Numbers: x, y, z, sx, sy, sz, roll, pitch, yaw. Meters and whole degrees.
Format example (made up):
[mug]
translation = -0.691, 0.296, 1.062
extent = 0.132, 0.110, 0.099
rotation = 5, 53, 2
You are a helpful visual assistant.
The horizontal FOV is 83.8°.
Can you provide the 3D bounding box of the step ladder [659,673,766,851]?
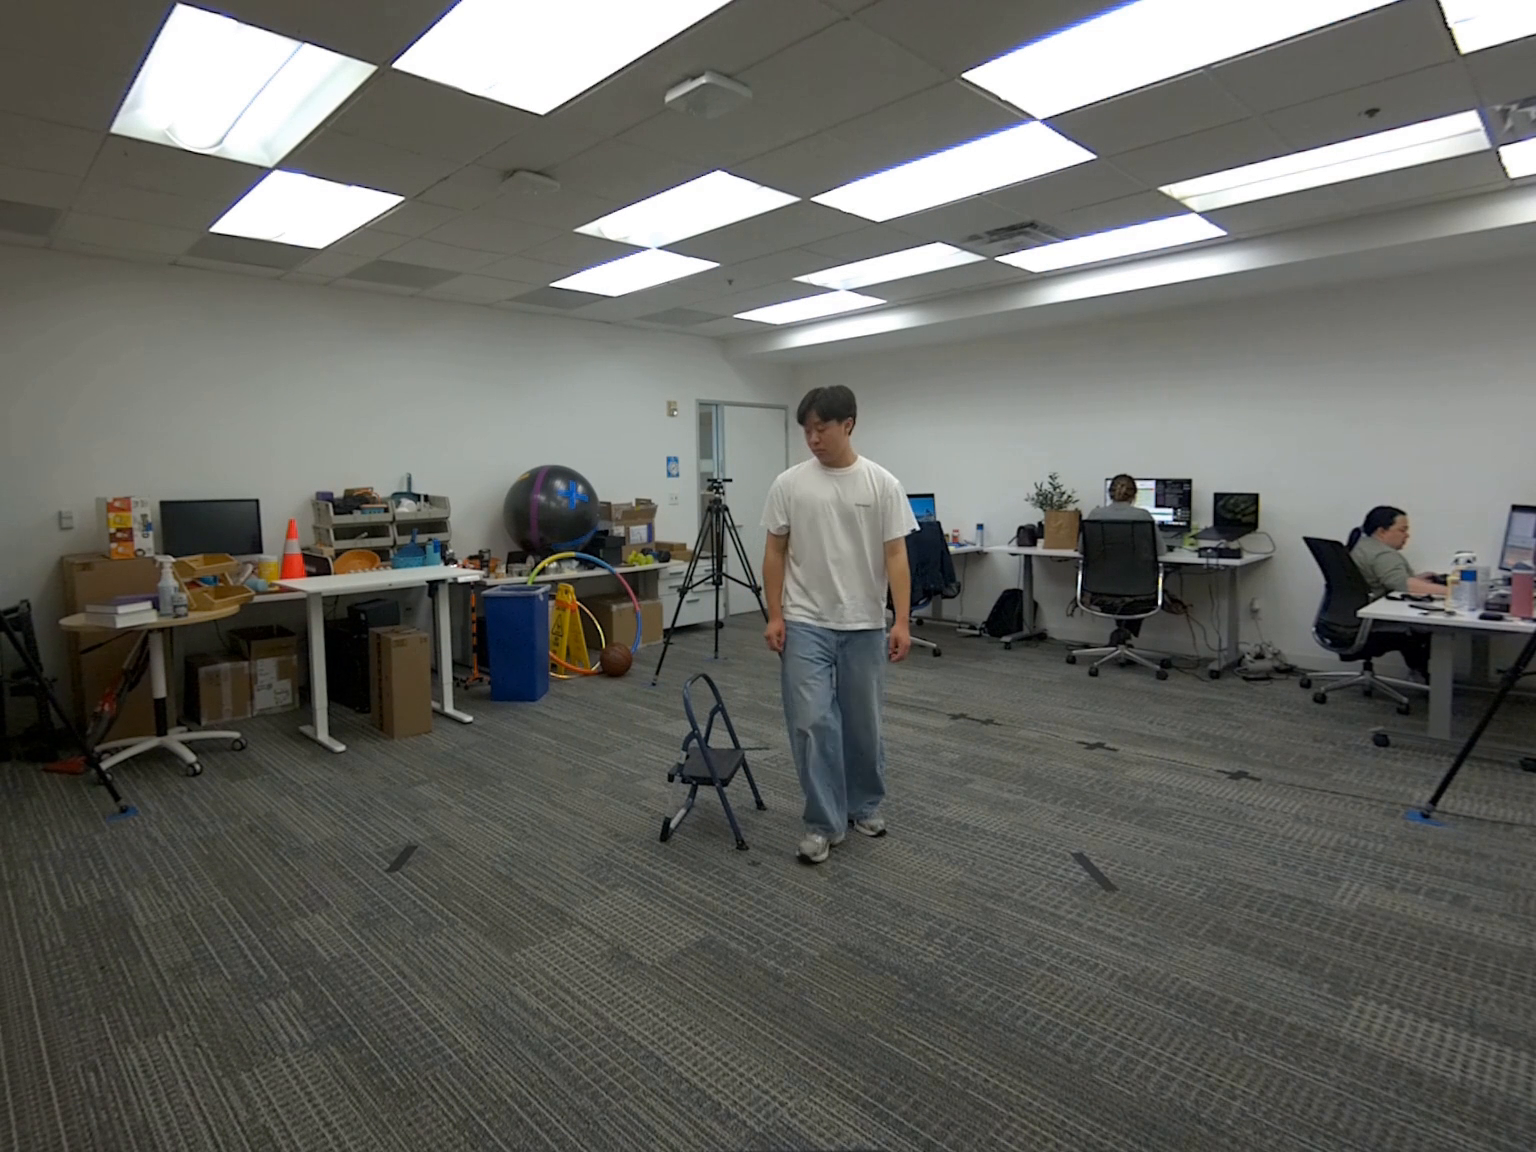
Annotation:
[step ladder]
translation = -0.219, 0.705, 3.448
extent = 0.353, 0.604, 0.427
rotation = 0, 4, 11
